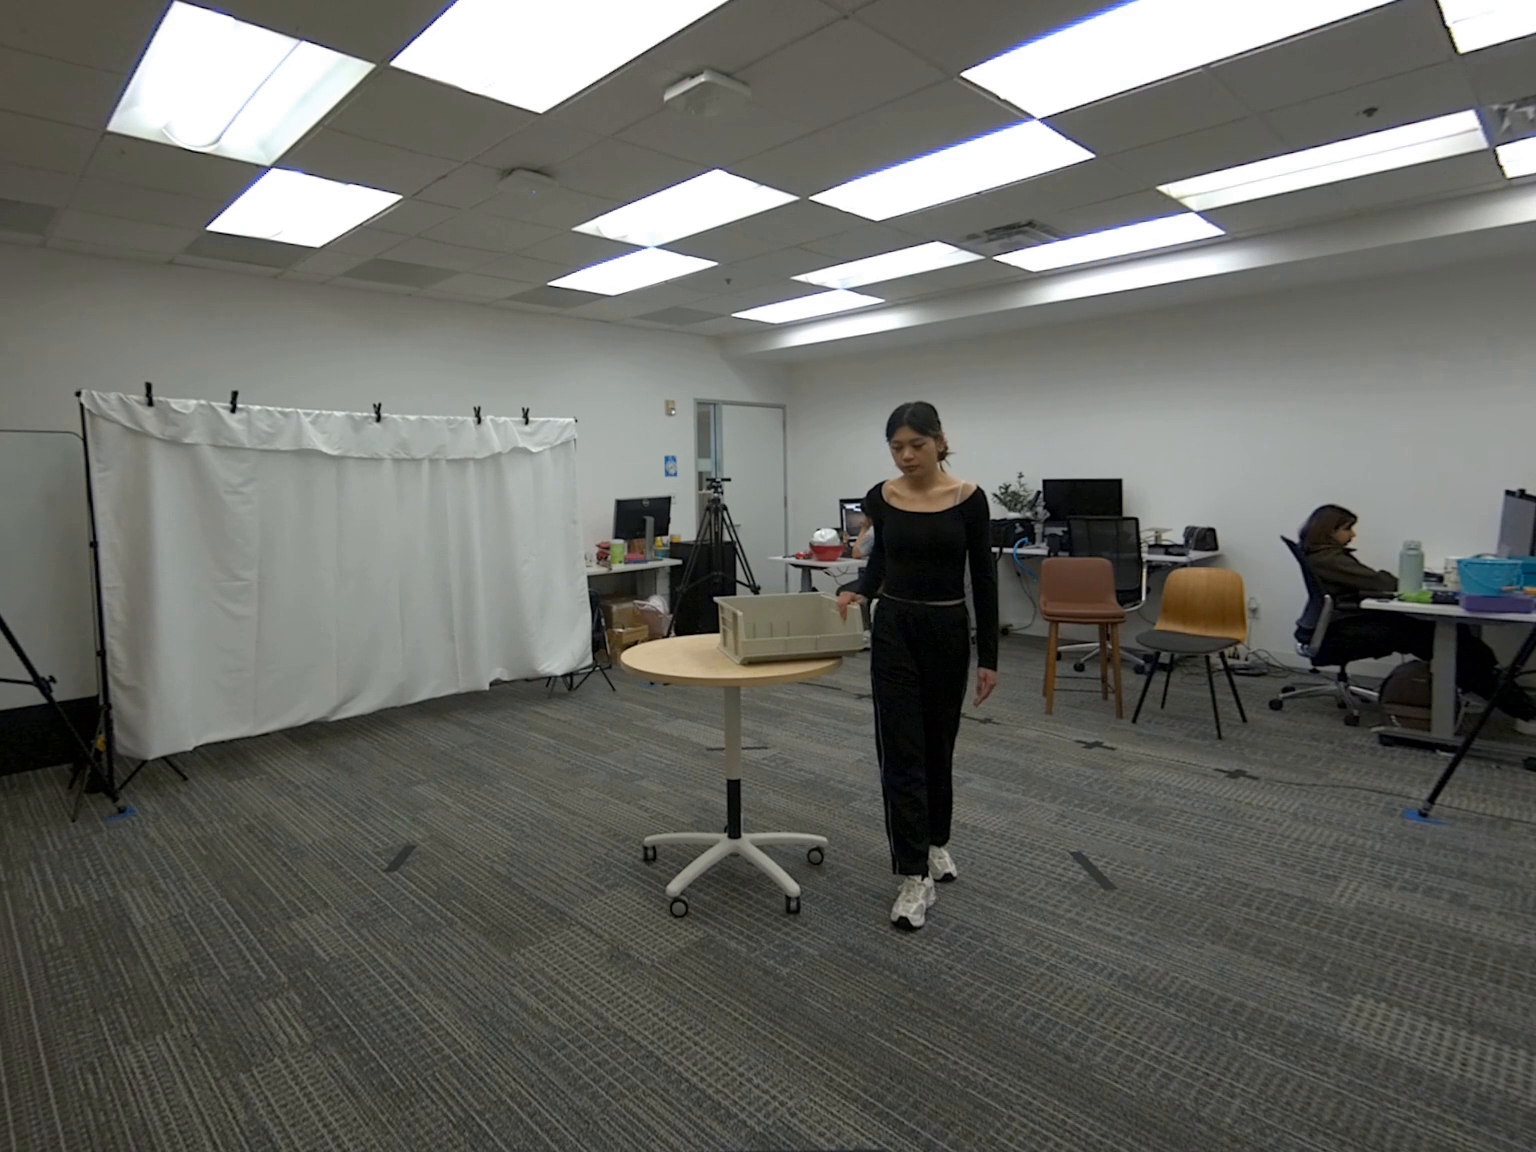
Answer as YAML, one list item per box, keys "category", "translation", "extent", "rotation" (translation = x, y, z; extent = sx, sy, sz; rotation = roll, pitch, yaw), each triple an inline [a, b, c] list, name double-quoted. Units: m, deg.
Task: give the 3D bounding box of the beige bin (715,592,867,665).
- category: "beige bin"
  translation: [0.060, 0.170, 2.933]
  extent: [0.417, 0.188, 0.383]
  rotation: [-3, 3, -13]
